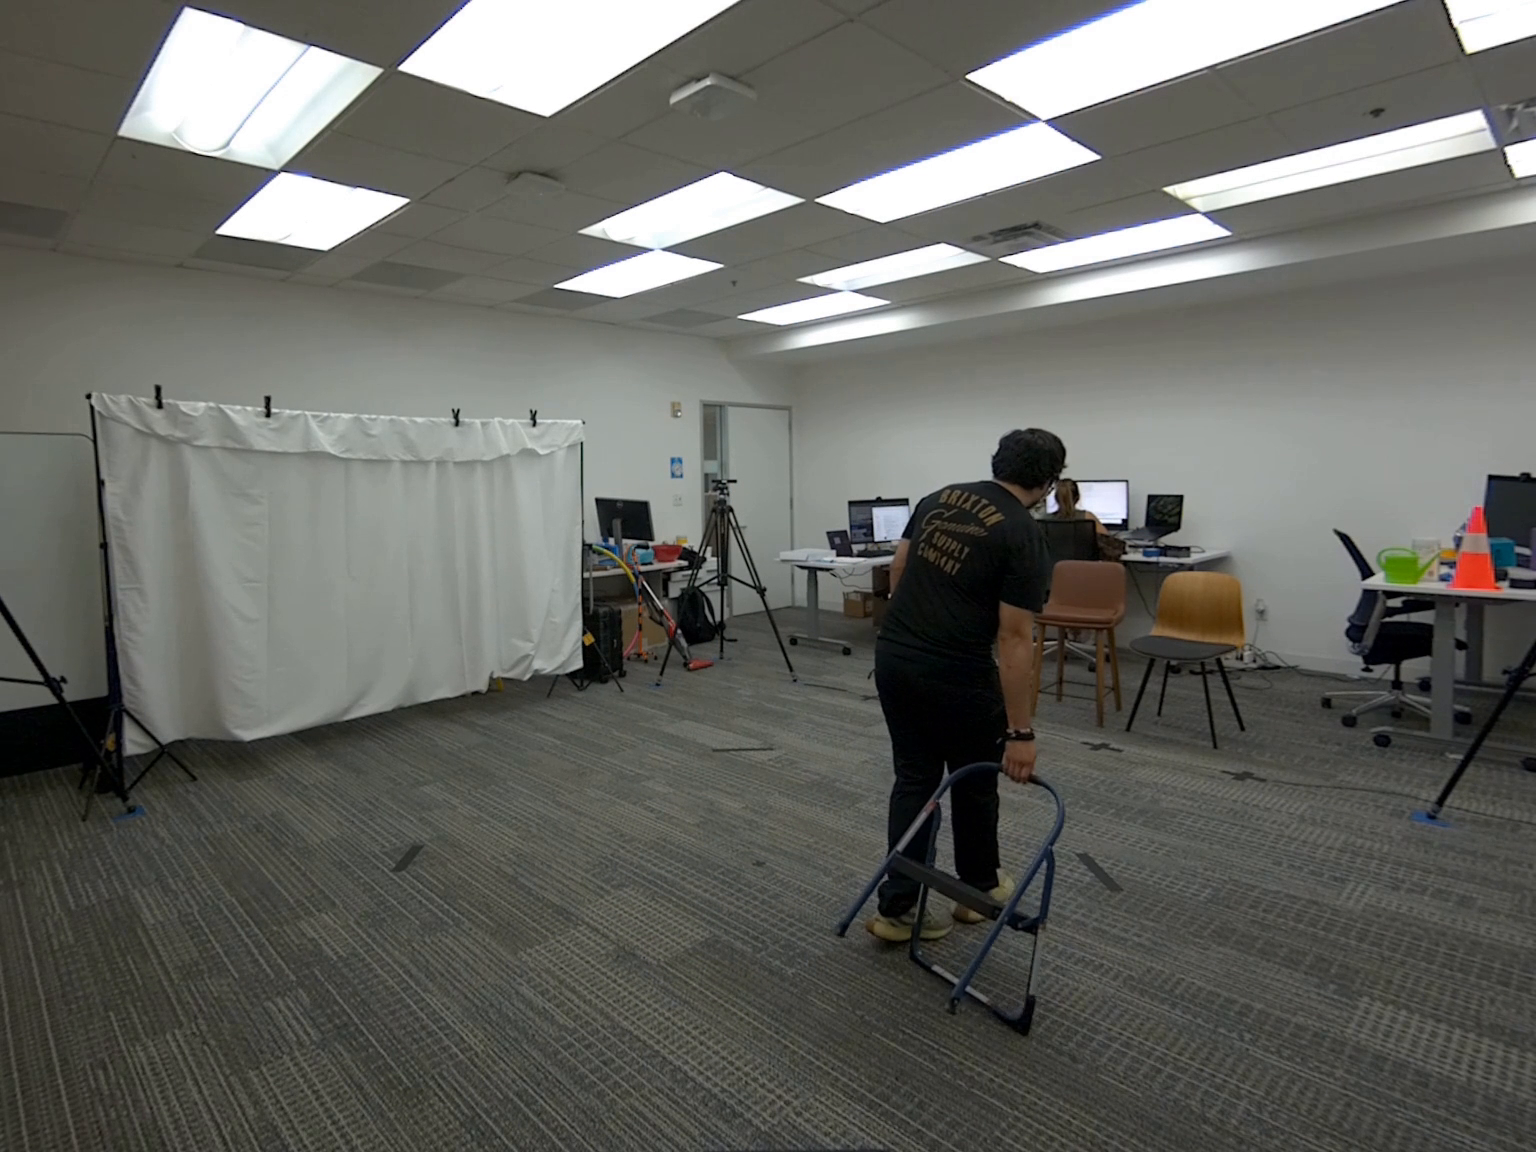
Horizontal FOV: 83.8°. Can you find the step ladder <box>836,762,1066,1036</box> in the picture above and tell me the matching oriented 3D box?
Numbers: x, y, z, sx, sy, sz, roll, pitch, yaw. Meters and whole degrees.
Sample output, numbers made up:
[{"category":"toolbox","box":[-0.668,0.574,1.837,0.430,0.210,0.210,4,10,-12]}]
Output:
[{"category":"step ladder","box":[0.538,0.792,2.280,0.337,0.609,0.443,31,-14,-32]}]
